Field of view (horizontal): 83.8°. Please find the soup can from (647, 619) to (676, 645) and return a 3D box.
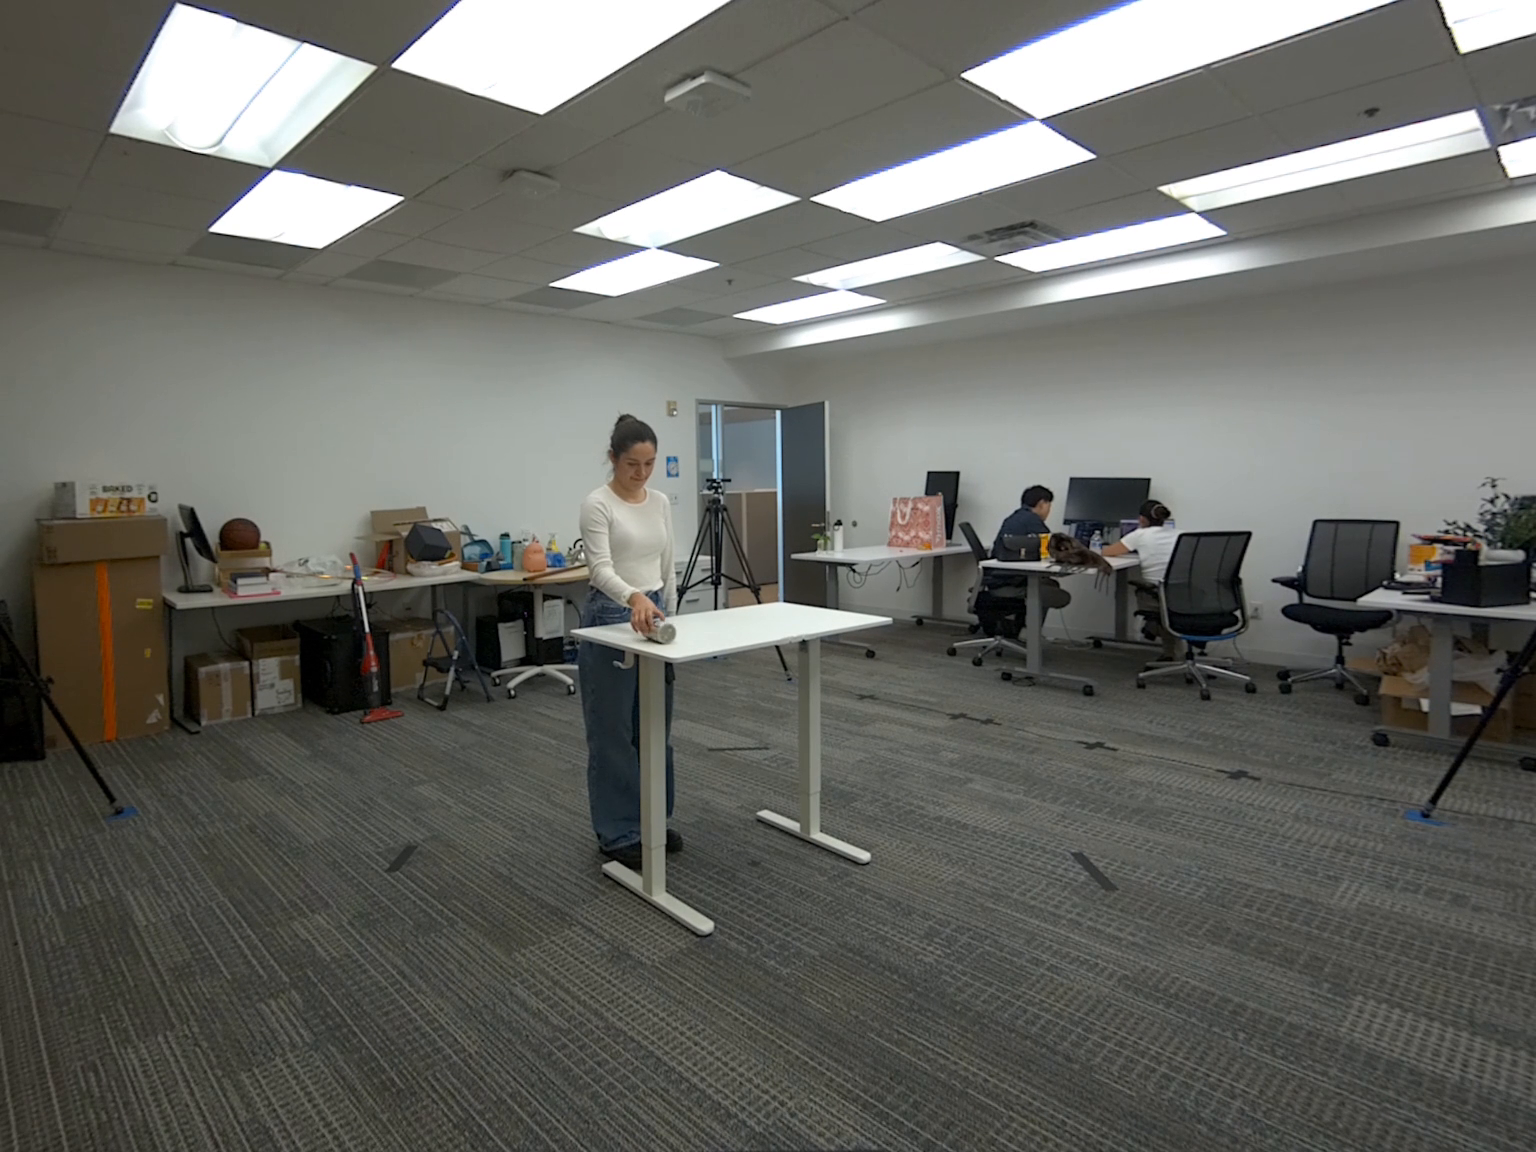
[{"bbox_3d":[-0.338,0.178,2.720,0.066,0.067,0.123,-2,4,-9],"label":"soup can"}]
